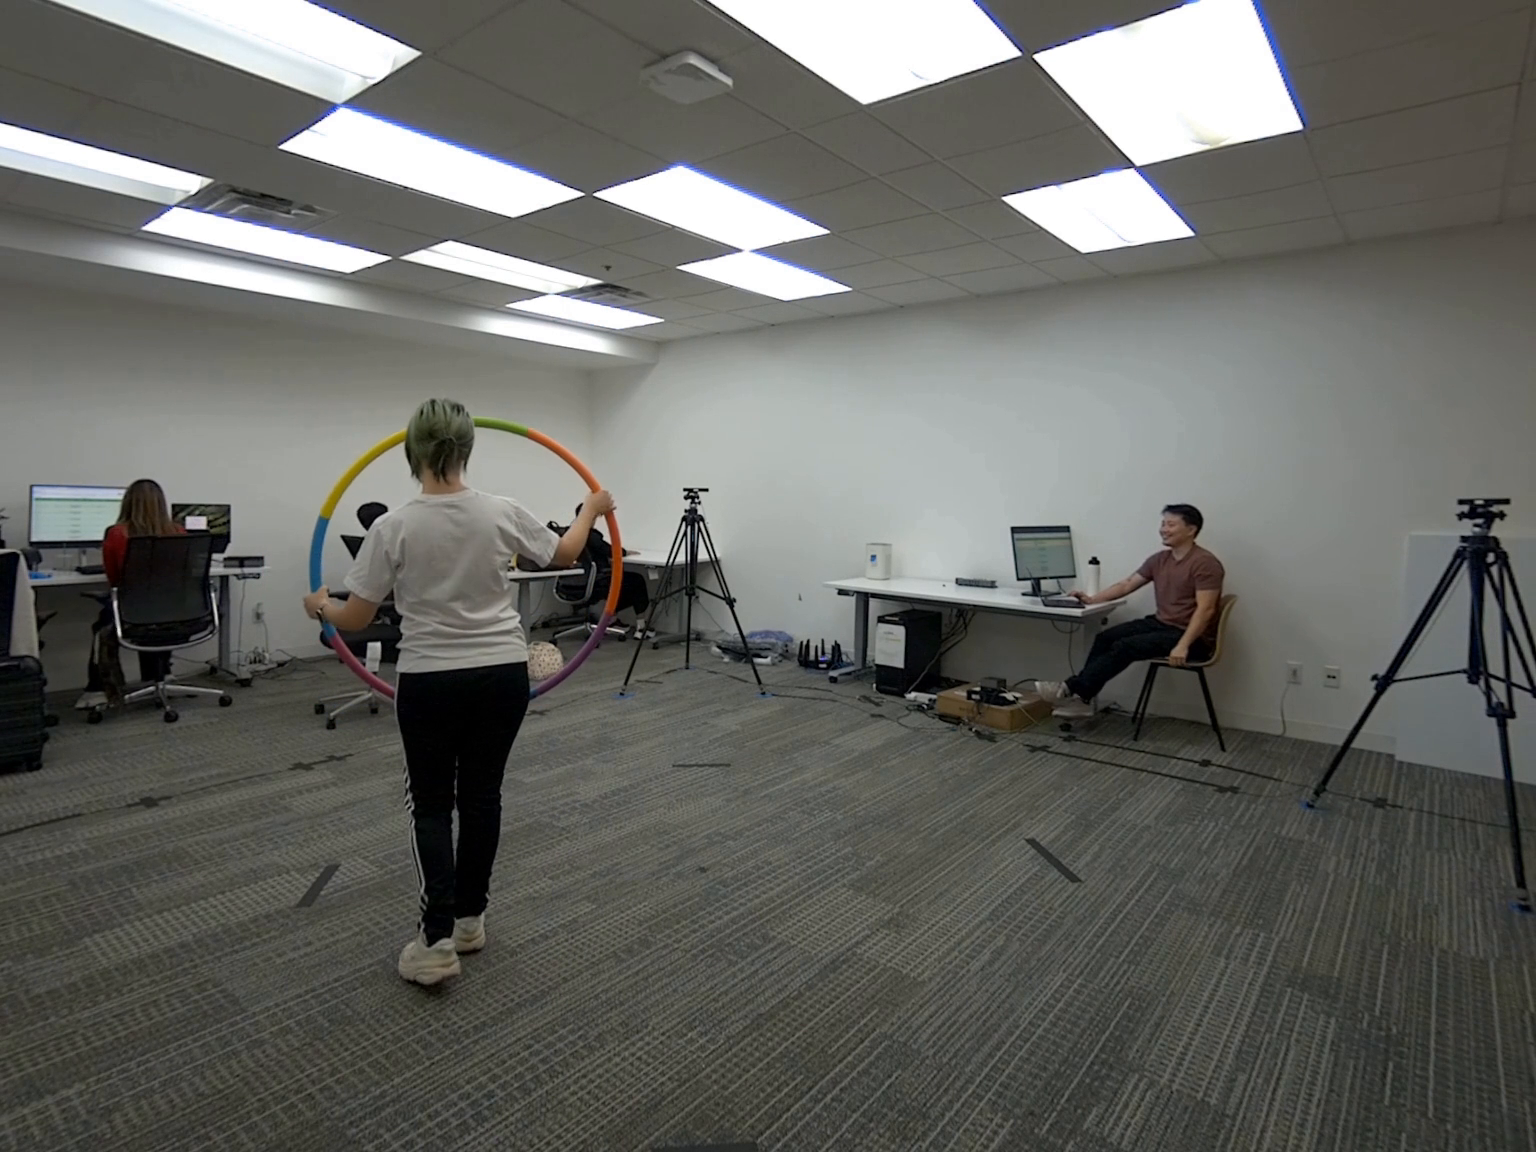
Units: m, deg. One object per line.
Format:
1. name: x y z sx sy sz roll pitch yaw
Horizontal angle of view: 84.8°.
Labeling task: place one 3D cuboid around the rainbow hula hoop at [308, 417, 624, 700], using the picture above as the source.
1. rainbow hula hoop: -0.974 -0.027 2.784 0.958 0.975 0.036 -1 4 -21
